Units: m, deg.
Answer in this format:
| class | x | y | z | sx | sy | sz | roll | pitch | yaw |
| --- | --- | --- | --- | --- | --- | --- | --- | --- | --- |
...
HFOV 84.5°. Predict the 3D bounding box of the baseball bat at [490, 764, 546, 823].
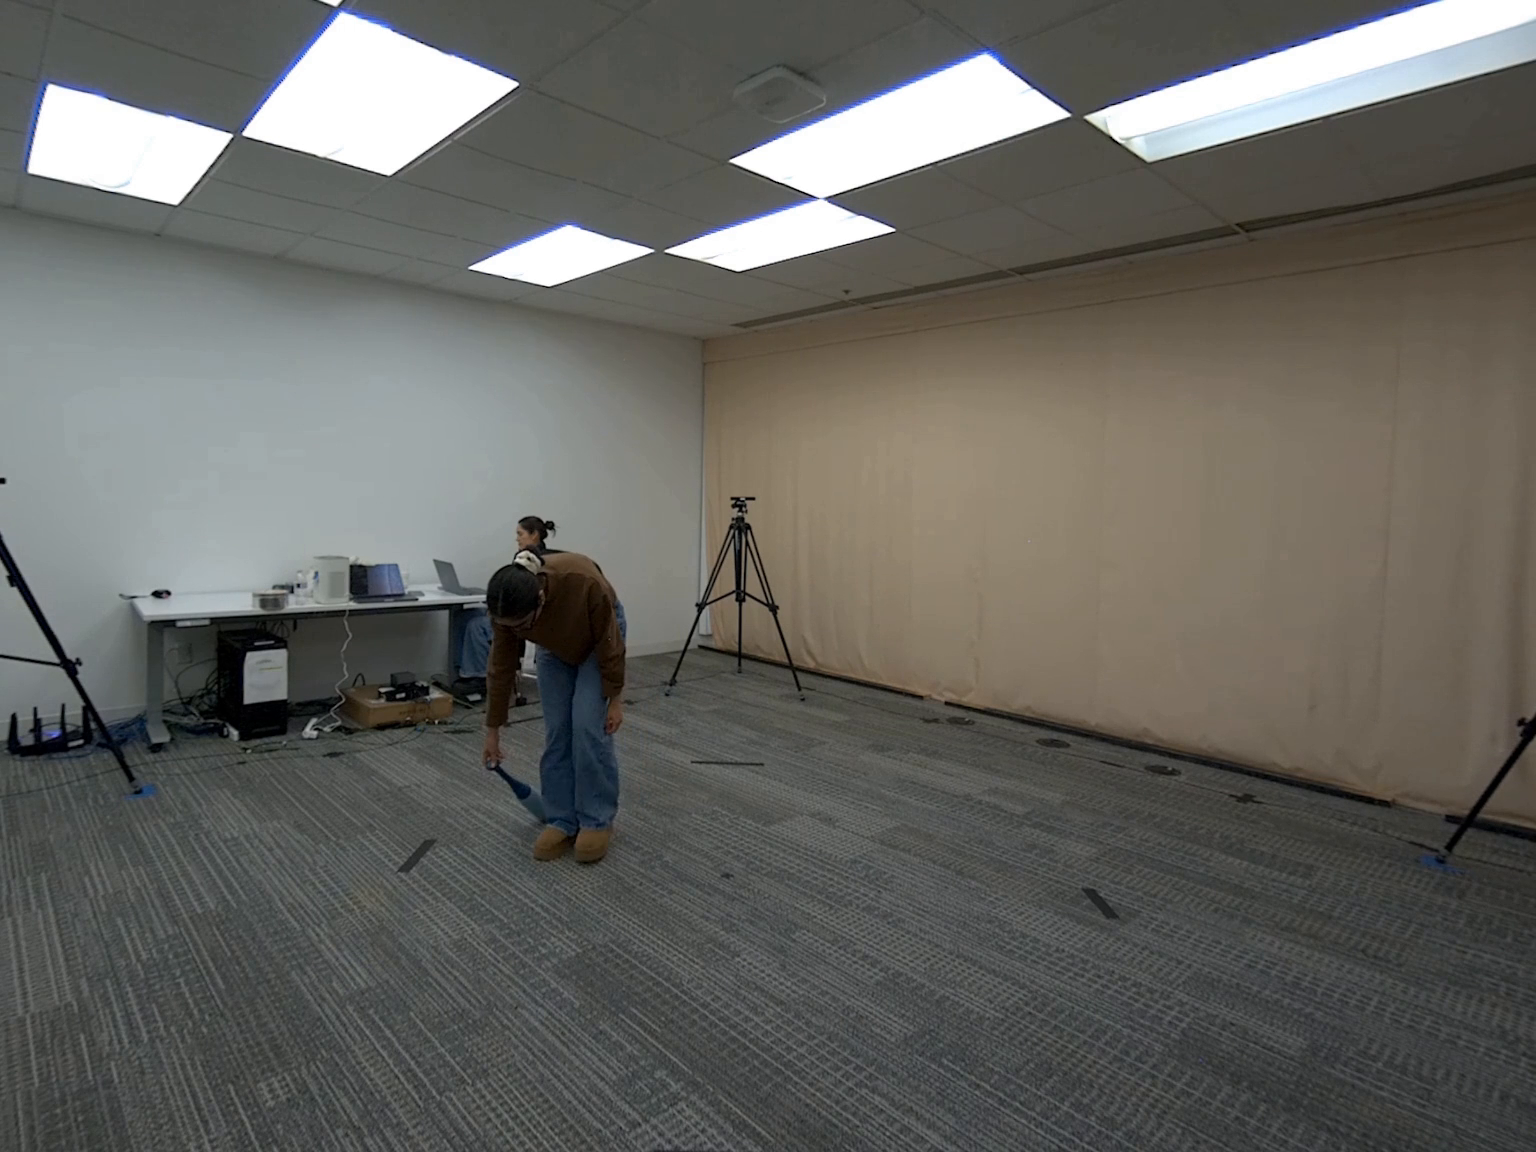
| class | x | y | z | sx | sy | sz | roll | pitch | yaw |
| --- | --- | --- | --- | --- | --- | --- | --- | --- | --- |
| baseball bat | -1.000 | 0.869 | 3.408 | 0.090 | 0.090 | 0.528 | 3 | -34 | 17 |
